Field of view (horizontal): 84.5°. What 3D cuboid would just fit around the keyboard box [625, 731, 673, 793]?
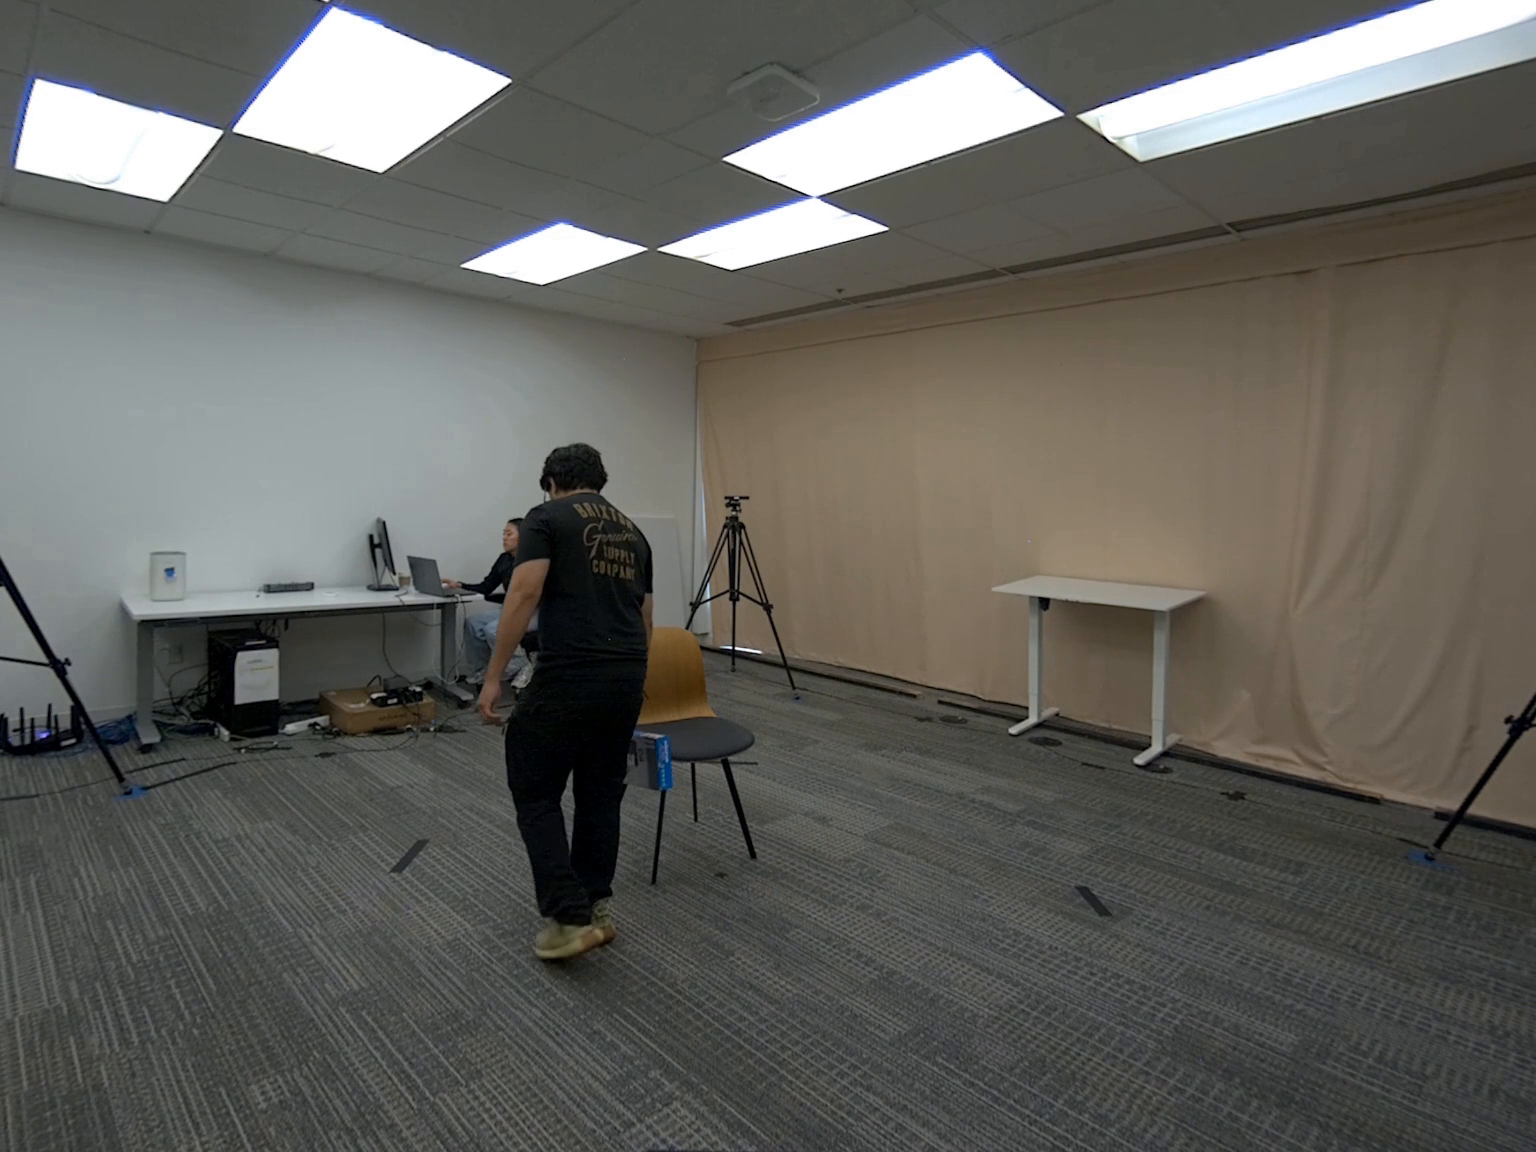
[{"bbox_3d":[-0.518,0.631,2.908,0.446,0.176,0.058,-3,0,43],"label":"keyboard box"}]
